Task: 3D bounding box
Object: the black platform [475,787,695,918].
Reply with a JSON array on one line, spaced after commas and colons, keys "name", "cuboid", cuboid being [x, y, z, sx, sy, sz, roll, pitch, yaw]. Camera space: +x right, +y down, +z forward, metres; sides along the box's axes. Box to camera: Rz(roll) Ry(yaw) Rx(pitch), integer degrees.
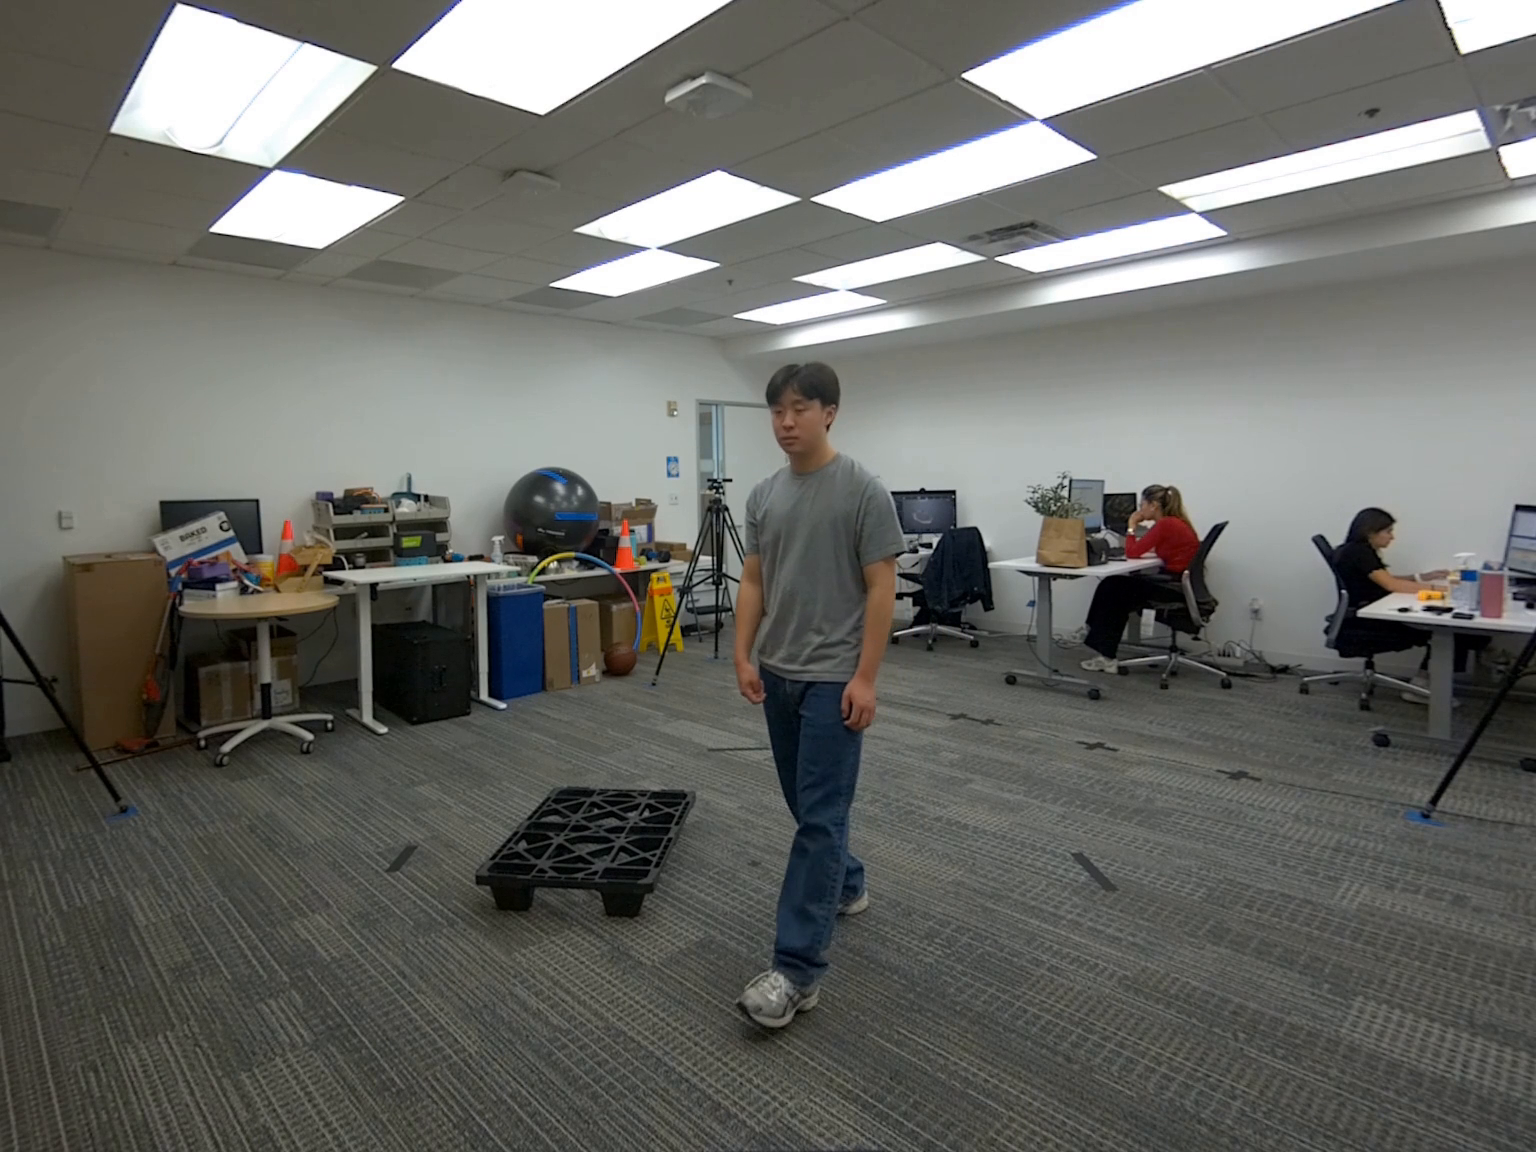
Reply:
[{"name": "black platform", "cuboid": [-0.614, 0.983, 3.128, 0.610, 0.142, 0.803, 0, 7, 7]}]
